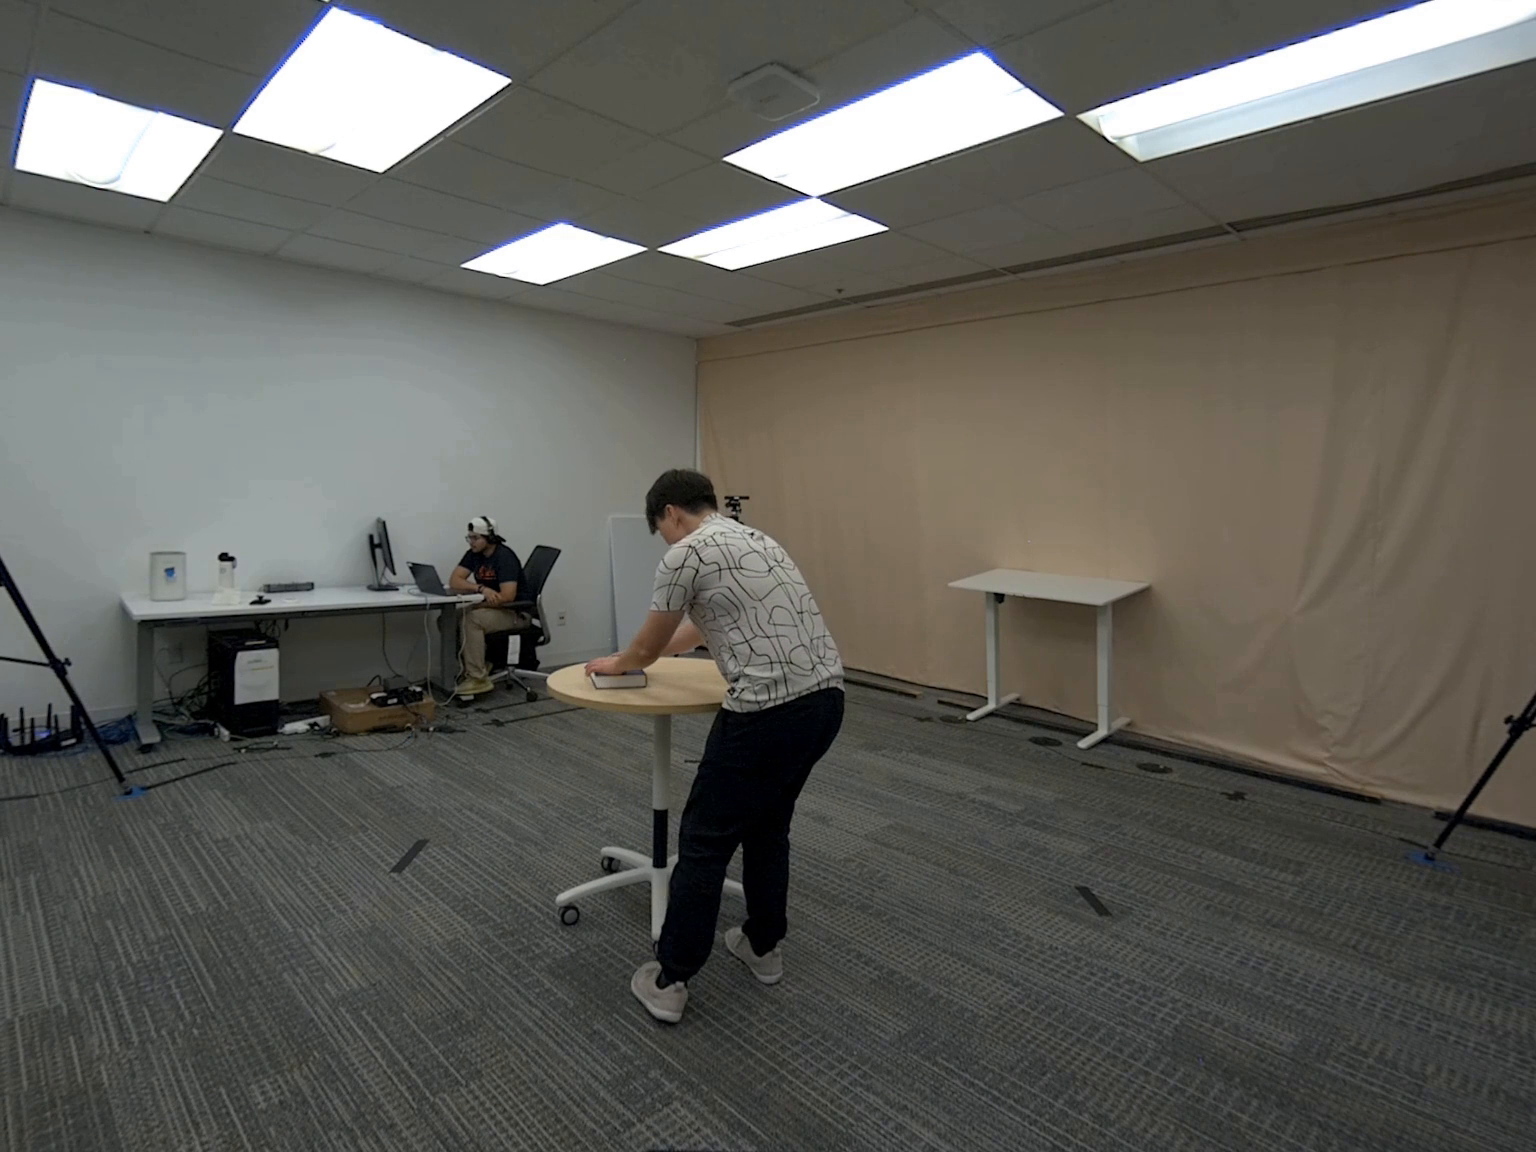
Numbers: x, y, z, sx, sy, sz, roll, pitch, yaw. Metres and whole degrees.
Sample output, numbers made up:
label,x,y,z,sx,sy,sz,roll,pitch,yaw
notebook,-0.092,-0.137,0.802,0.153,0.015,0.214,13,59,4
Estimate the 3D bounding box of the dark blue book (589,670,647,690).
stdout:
label,x,y,z,sx,sy,sz,roll,pitch,yaw
dark blue book,-0.504,0.327,2.762,0.162,0.045,0.248,0,4,-14
